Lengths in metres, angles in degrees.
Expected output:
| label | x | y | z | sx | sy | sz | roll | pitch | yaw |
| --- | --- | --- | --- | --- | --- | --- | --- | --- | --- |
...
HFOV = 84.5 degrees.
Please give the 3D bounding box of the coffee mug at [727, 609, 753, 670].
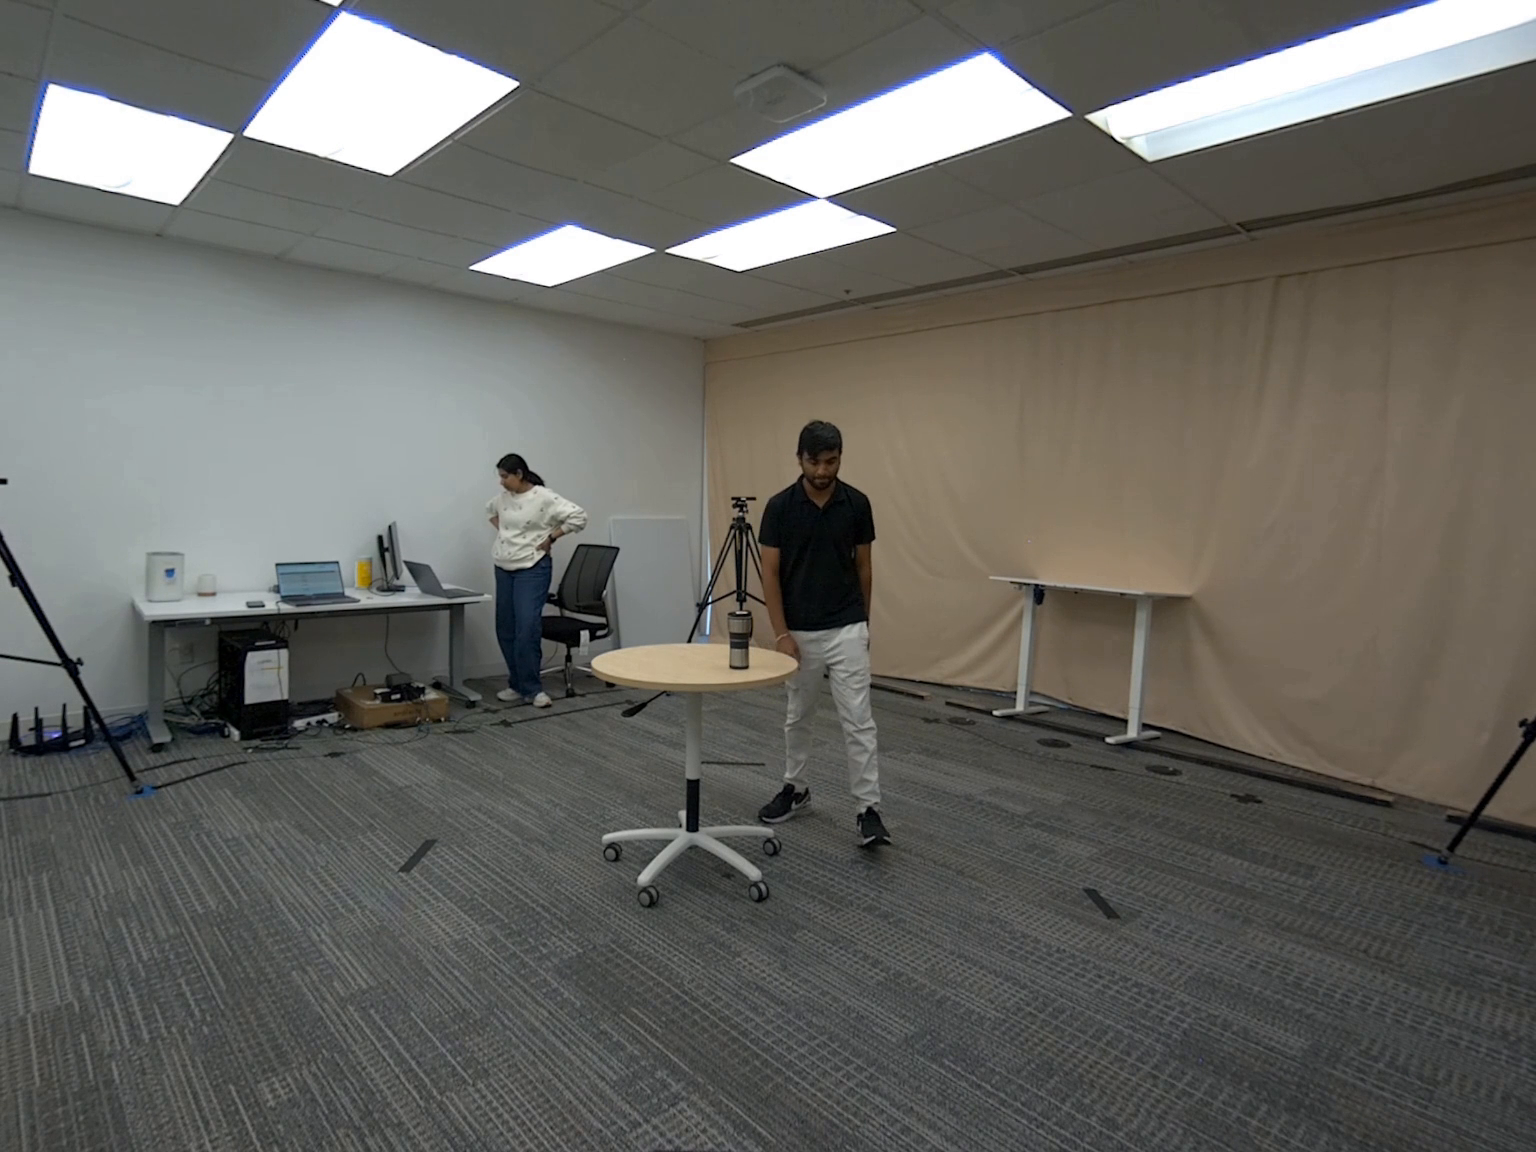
| label | x | y | z | sx | sy | sz | roll | pitch | yaw |
| --- | --- | --- | --- | --- | --- | --- | --- | --- | --- |
| coffee mug | -0.090 | 0.230 | 3.029 | 0.119 | 0.203 | 0.090 | -3 | 1 | -36 |
